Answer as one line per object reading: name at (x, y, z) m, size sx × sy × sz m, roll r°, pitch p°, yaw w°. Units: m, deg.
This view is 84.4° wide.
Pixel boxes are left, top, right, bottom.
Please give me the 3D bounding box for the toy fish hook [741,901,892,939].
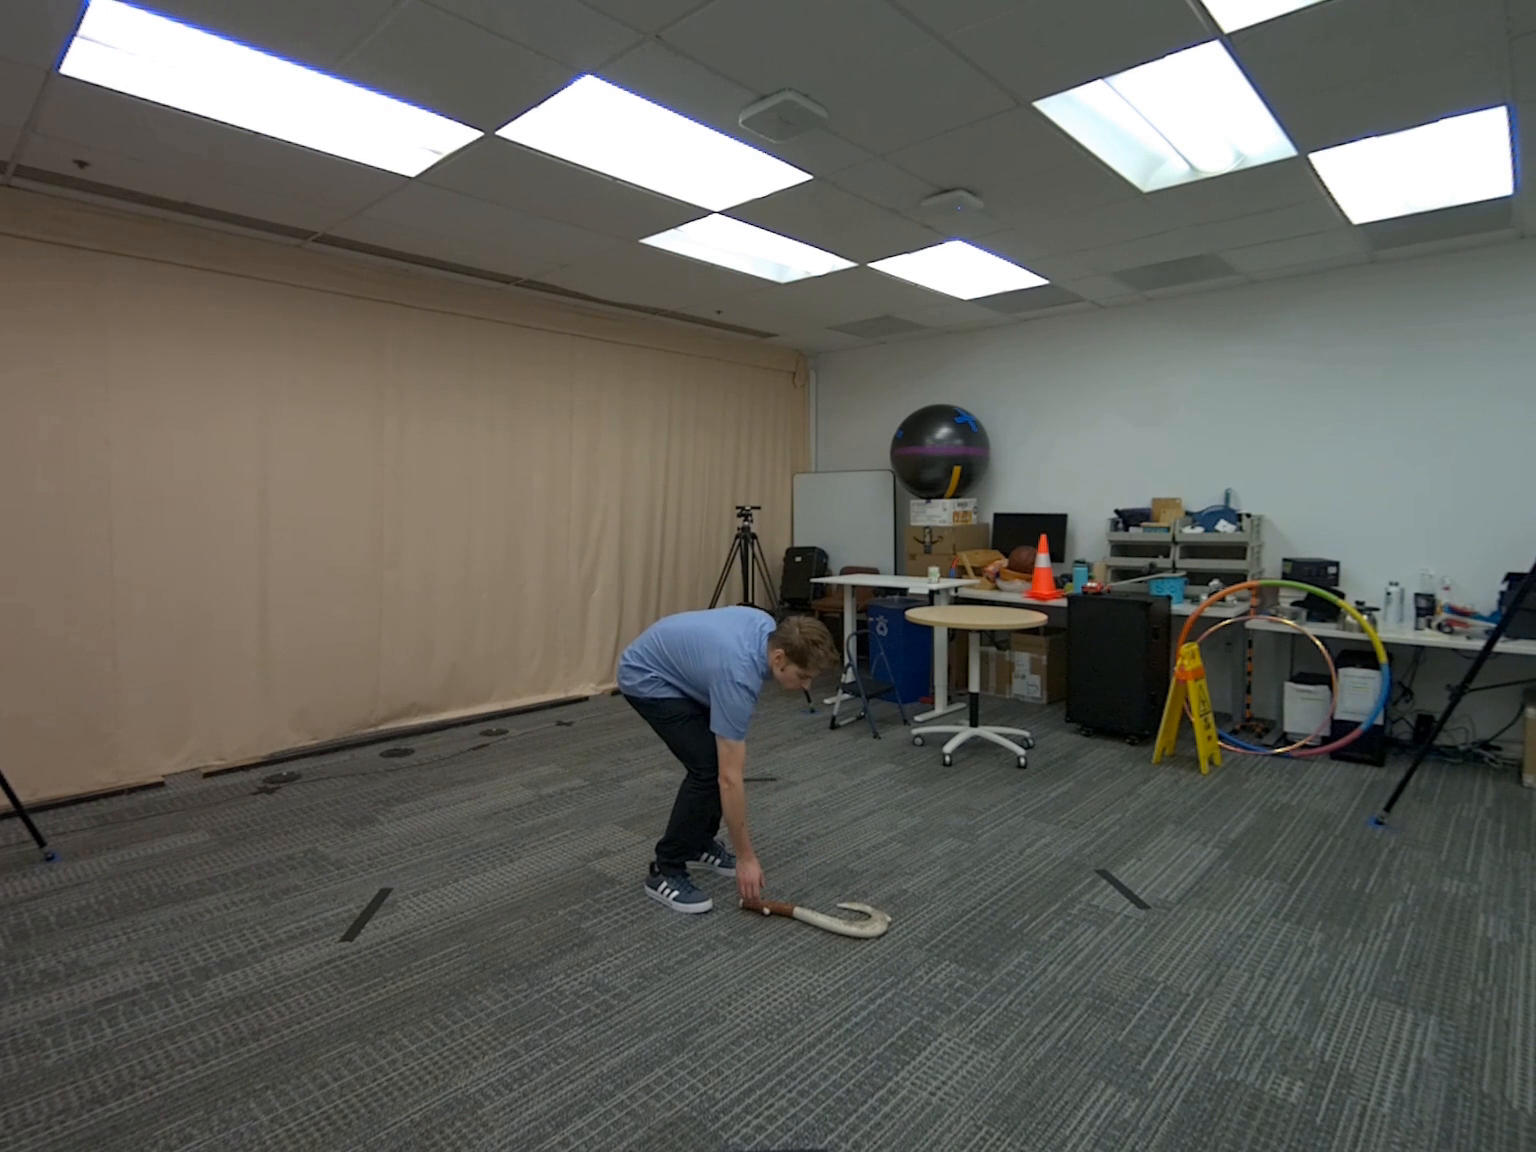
toy fish hook at (0.158, 1.139, 2.862) m, size 0.518 × 0.048 × 0.219 m, roll 3°, pitch -3°, yaw 22°
